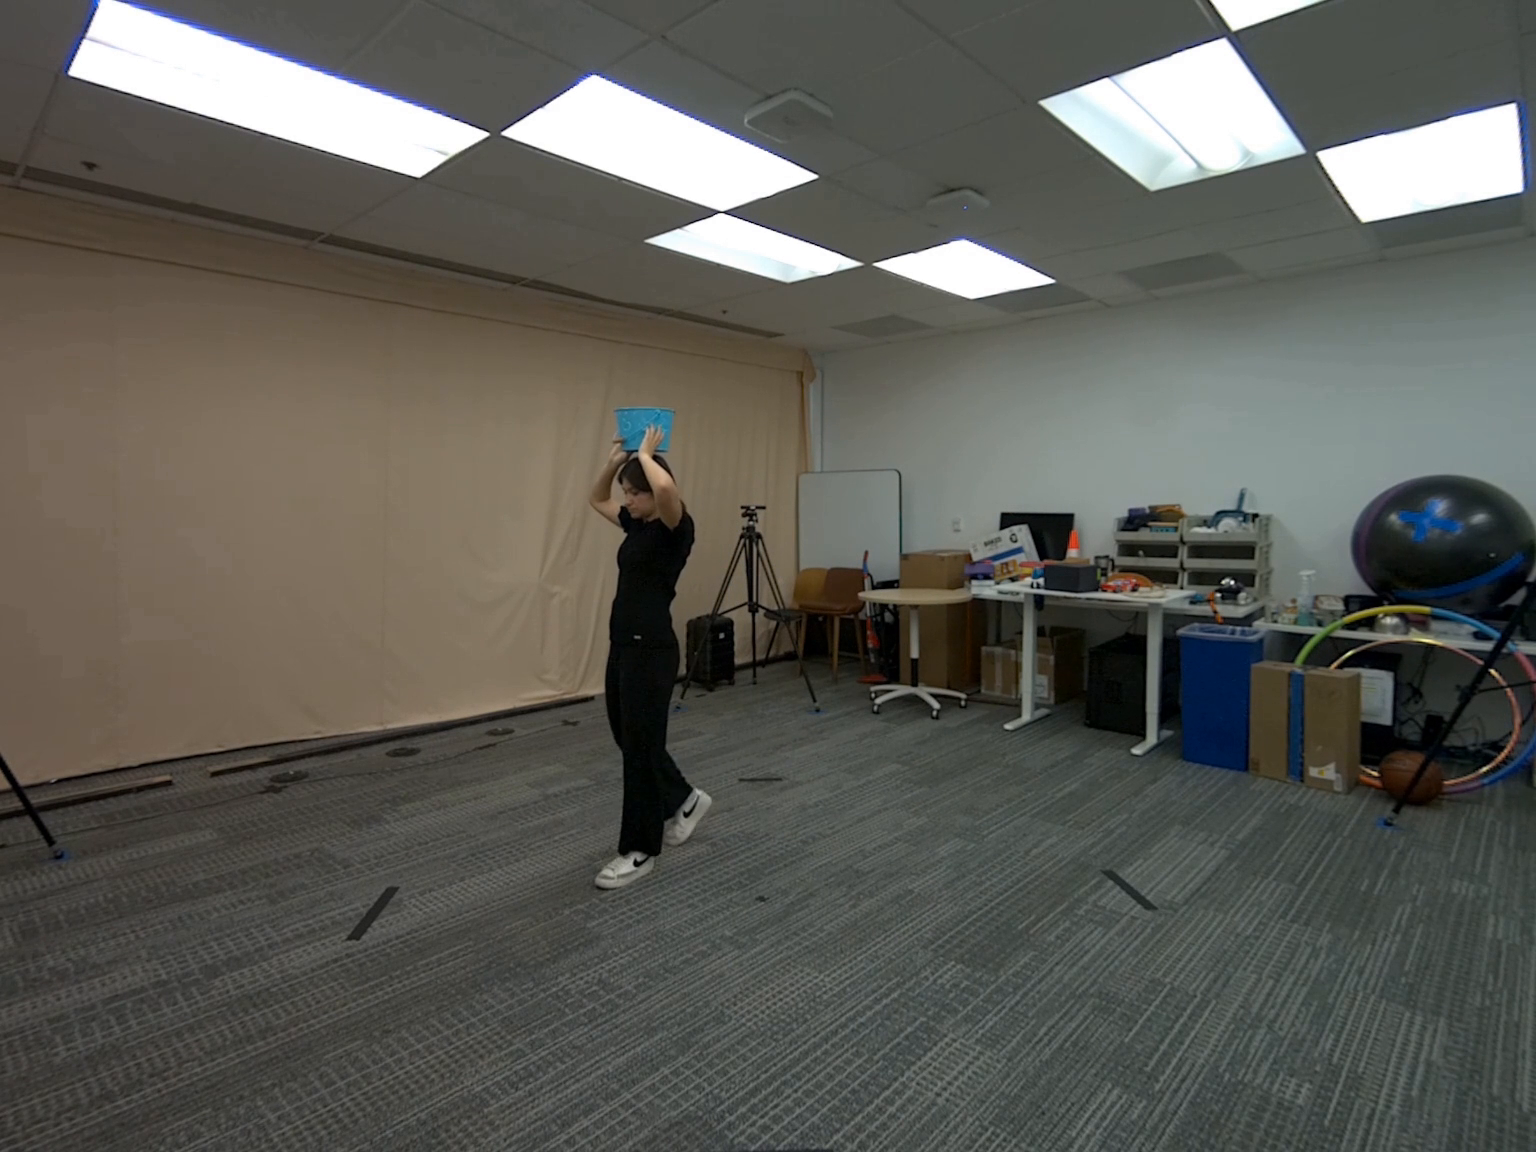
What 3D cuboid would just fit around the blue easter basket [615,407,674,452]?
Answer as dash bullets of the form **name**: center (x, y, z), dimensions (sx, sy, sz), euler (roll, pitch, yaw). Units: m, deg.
- **blue easter basket**: center (-0.475, -0.552, 3.200), dimensions (0.243, 0.155, 0.244), euler (-1, 5, -2)
